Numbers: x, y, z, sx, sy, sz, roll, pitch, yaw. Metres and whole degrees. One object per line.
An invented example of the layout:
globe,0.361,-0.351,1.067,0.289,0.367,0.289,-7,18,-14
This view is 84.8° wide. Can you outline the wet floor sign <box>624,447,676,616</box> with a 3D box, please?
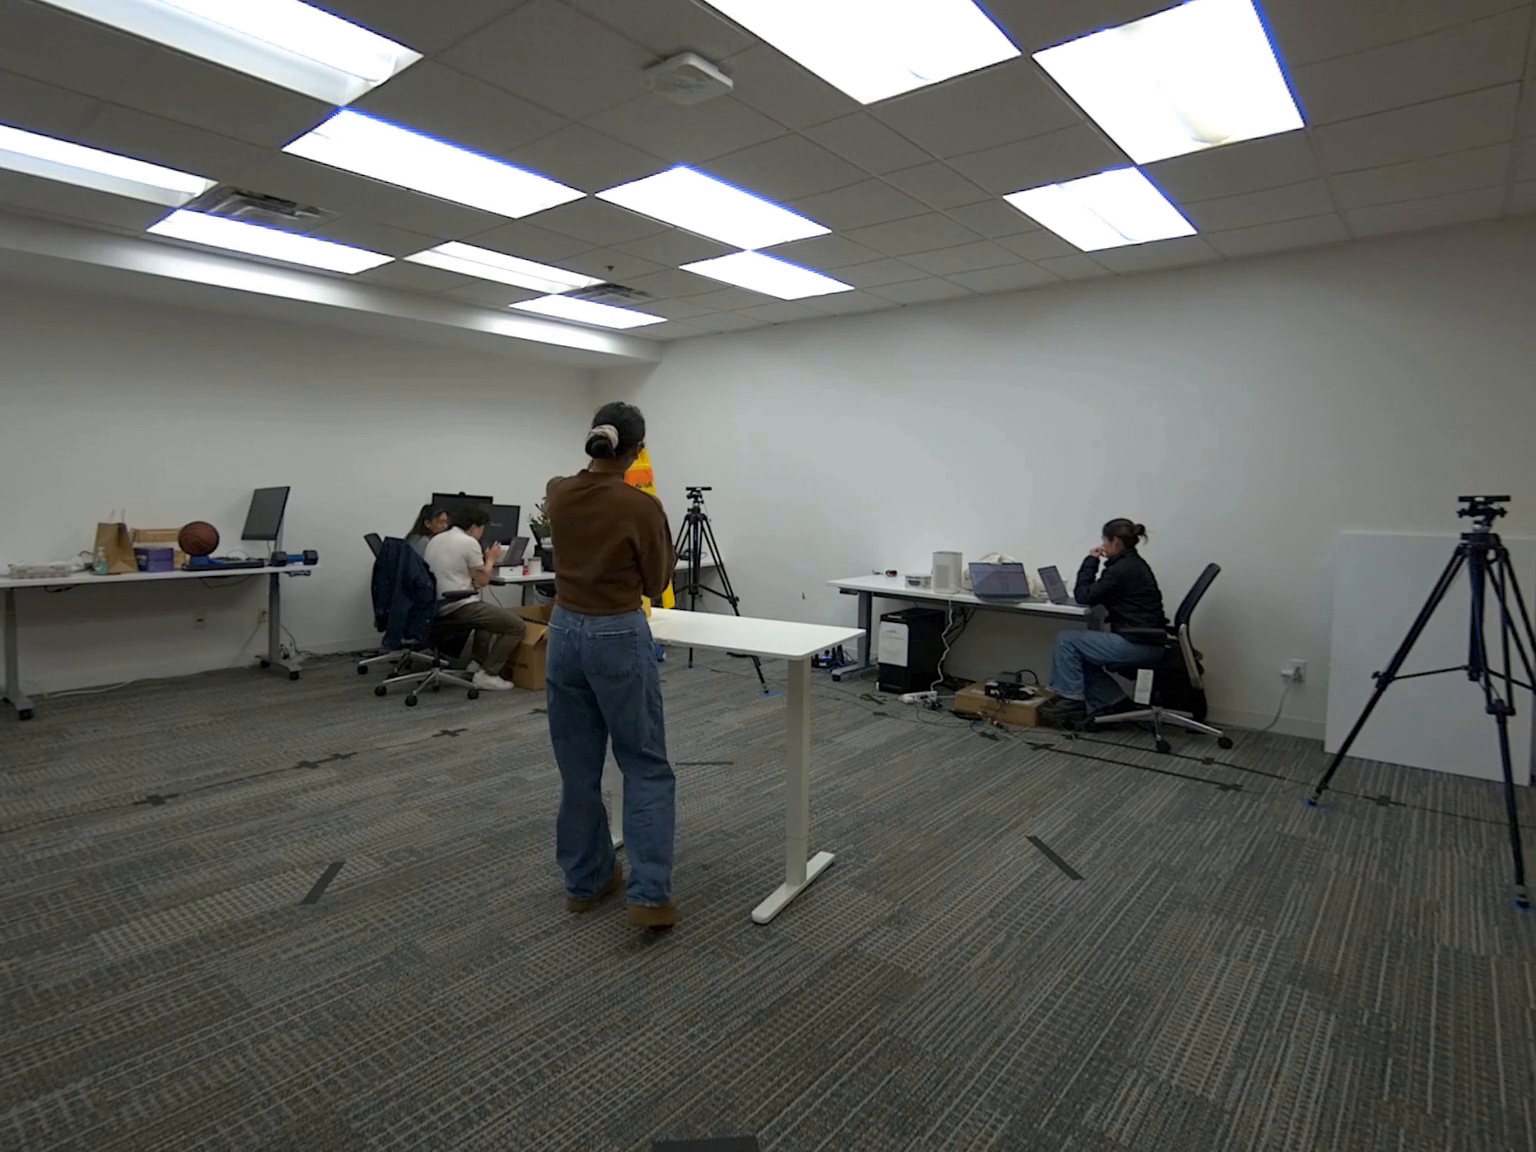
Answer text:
wet floor sign,-0.527,-0.194,3.149,0.296,0.642,0.278,5,8,19
